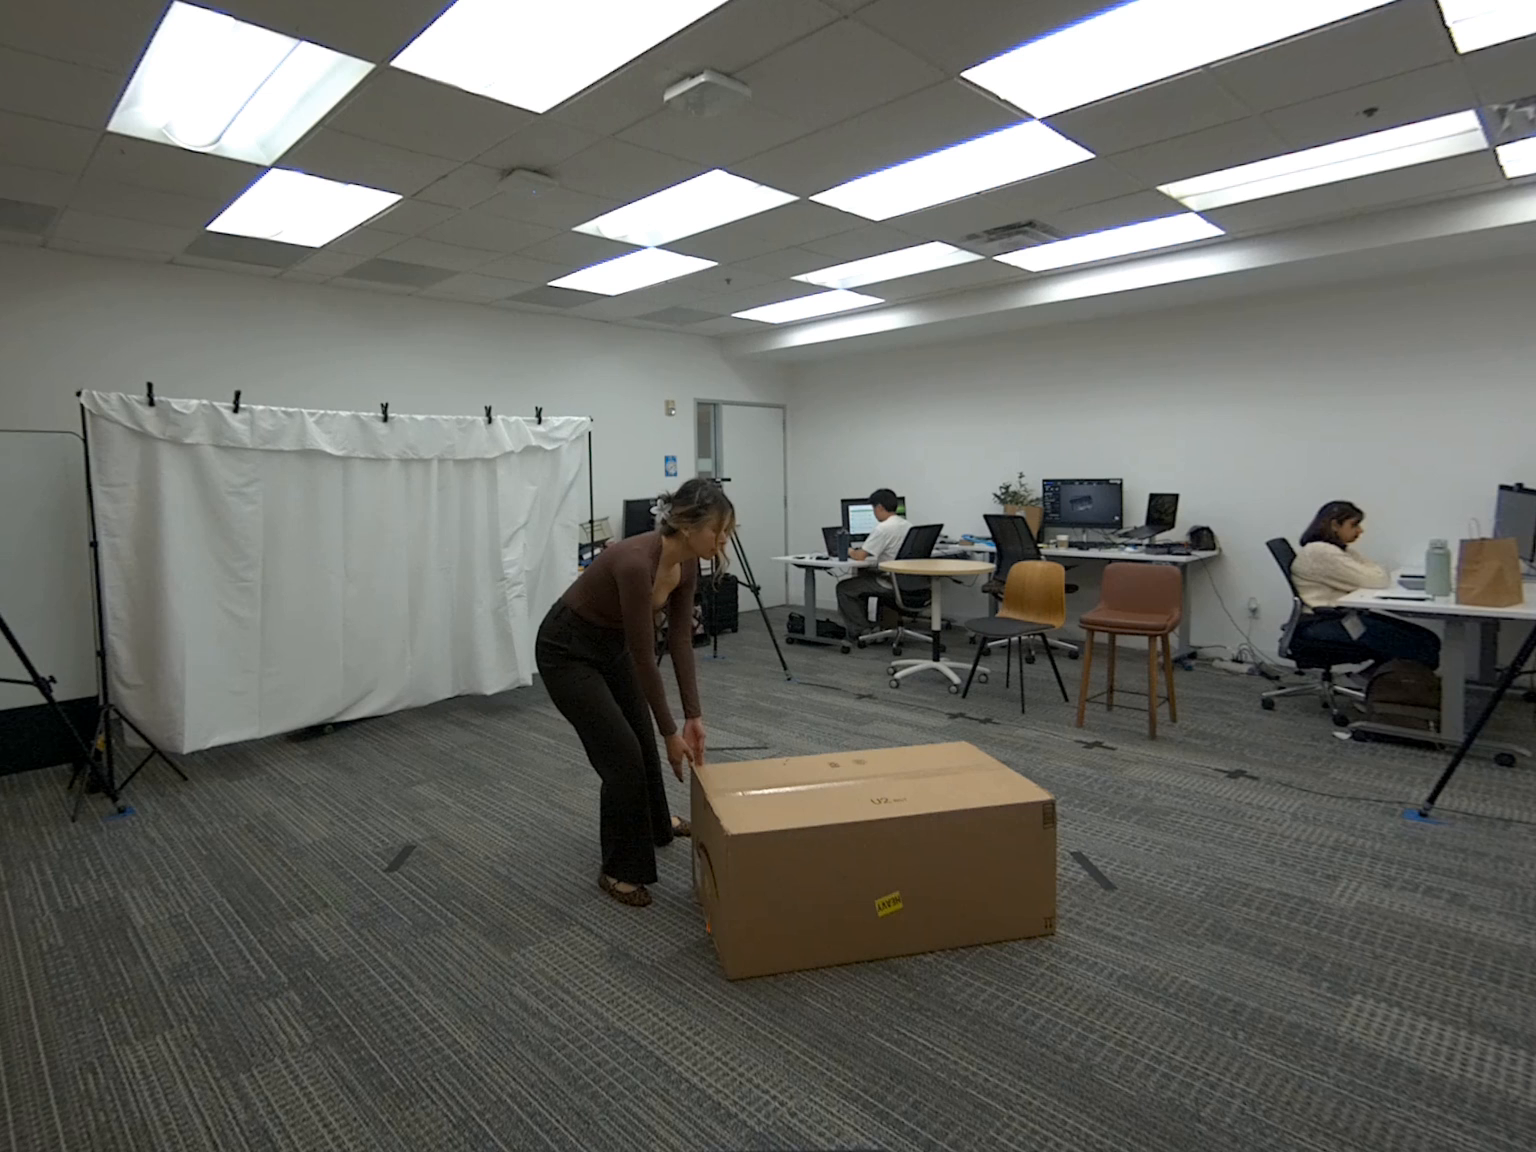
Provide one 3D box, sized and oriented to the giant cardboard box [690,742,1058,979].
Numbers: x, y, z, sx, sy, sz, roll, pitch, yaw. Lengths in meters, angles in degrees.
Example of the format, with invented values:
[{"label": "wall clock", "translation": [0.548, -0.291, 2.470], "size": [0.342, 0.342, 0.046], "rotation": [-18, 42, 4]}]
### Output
[{"label": "giant cardboard box", "translation": [0.304, 0.862, 2.739], "size": [1.015, 0.444, 0.594], "rotation": [-3, 7, -13]}]
